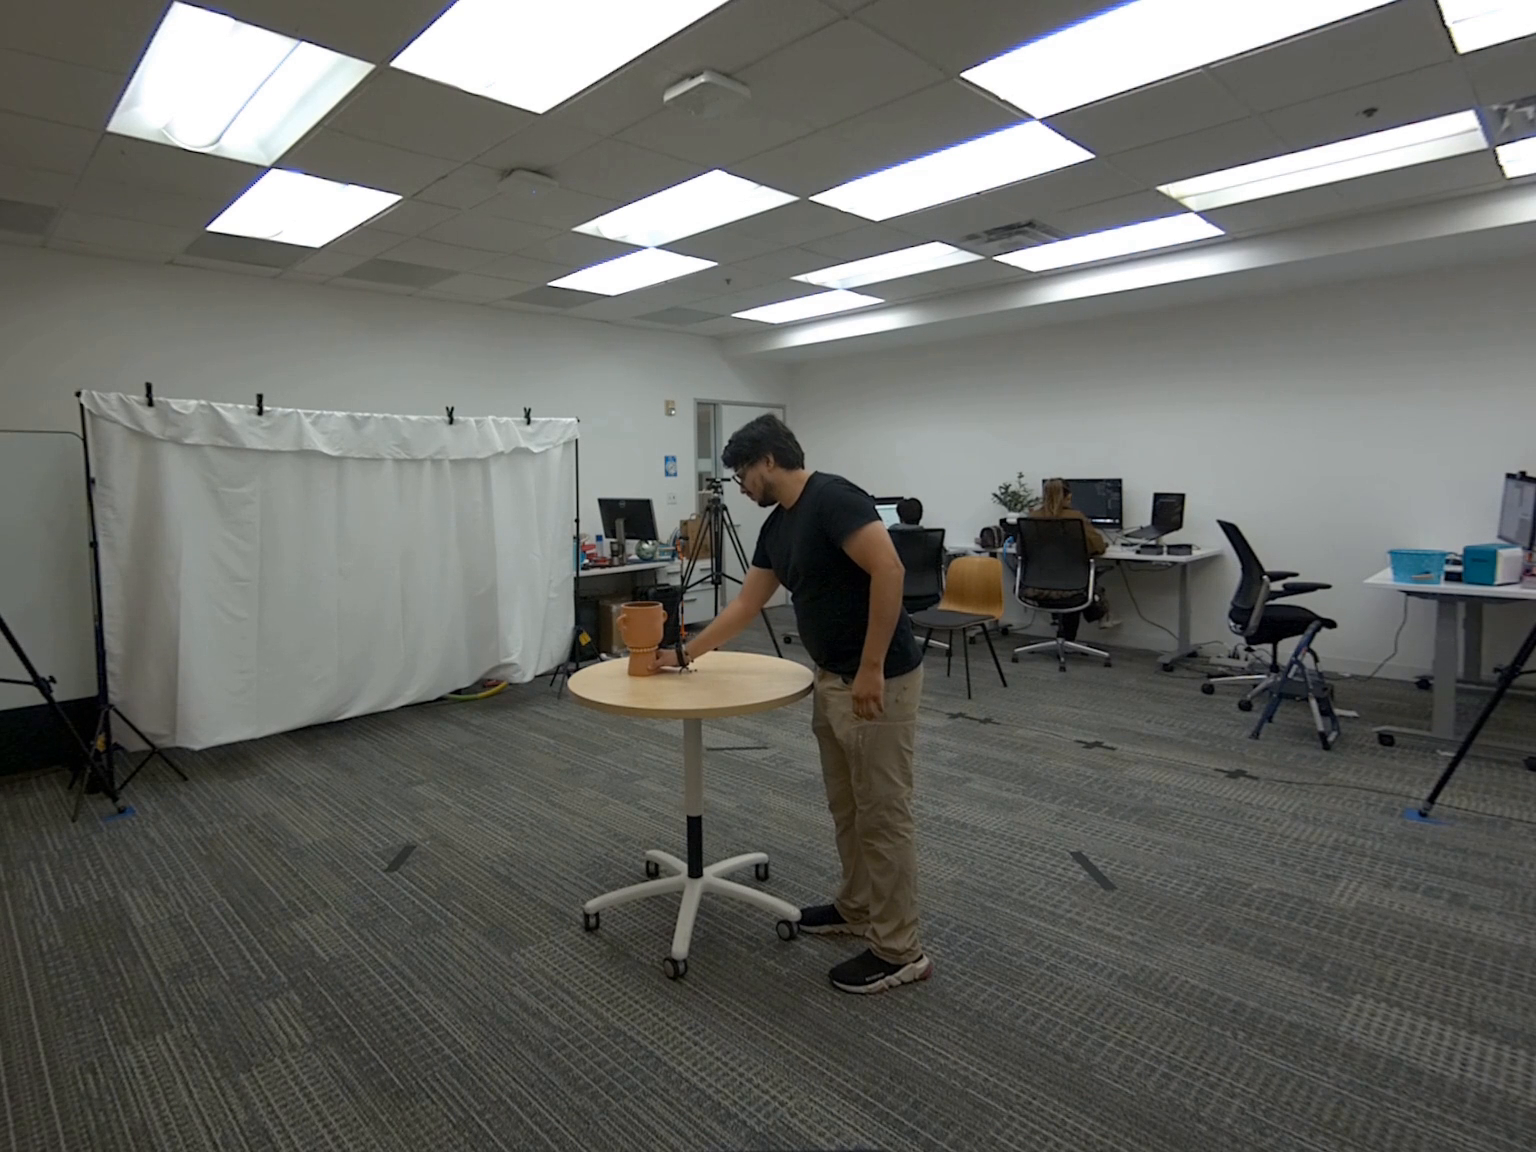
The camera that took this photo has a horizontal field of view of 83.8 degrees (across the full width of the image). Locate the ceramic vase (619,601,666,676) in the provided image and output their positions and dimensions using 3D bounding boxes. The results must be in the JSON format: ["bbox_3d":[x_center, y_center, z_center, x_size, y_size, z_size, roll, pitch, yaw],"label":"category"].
[{"bbox_3d":[-0.388,0.198,2.724,0.158,0.218,0.136,-2,6,-6],"label":"ceramic vase"}]
